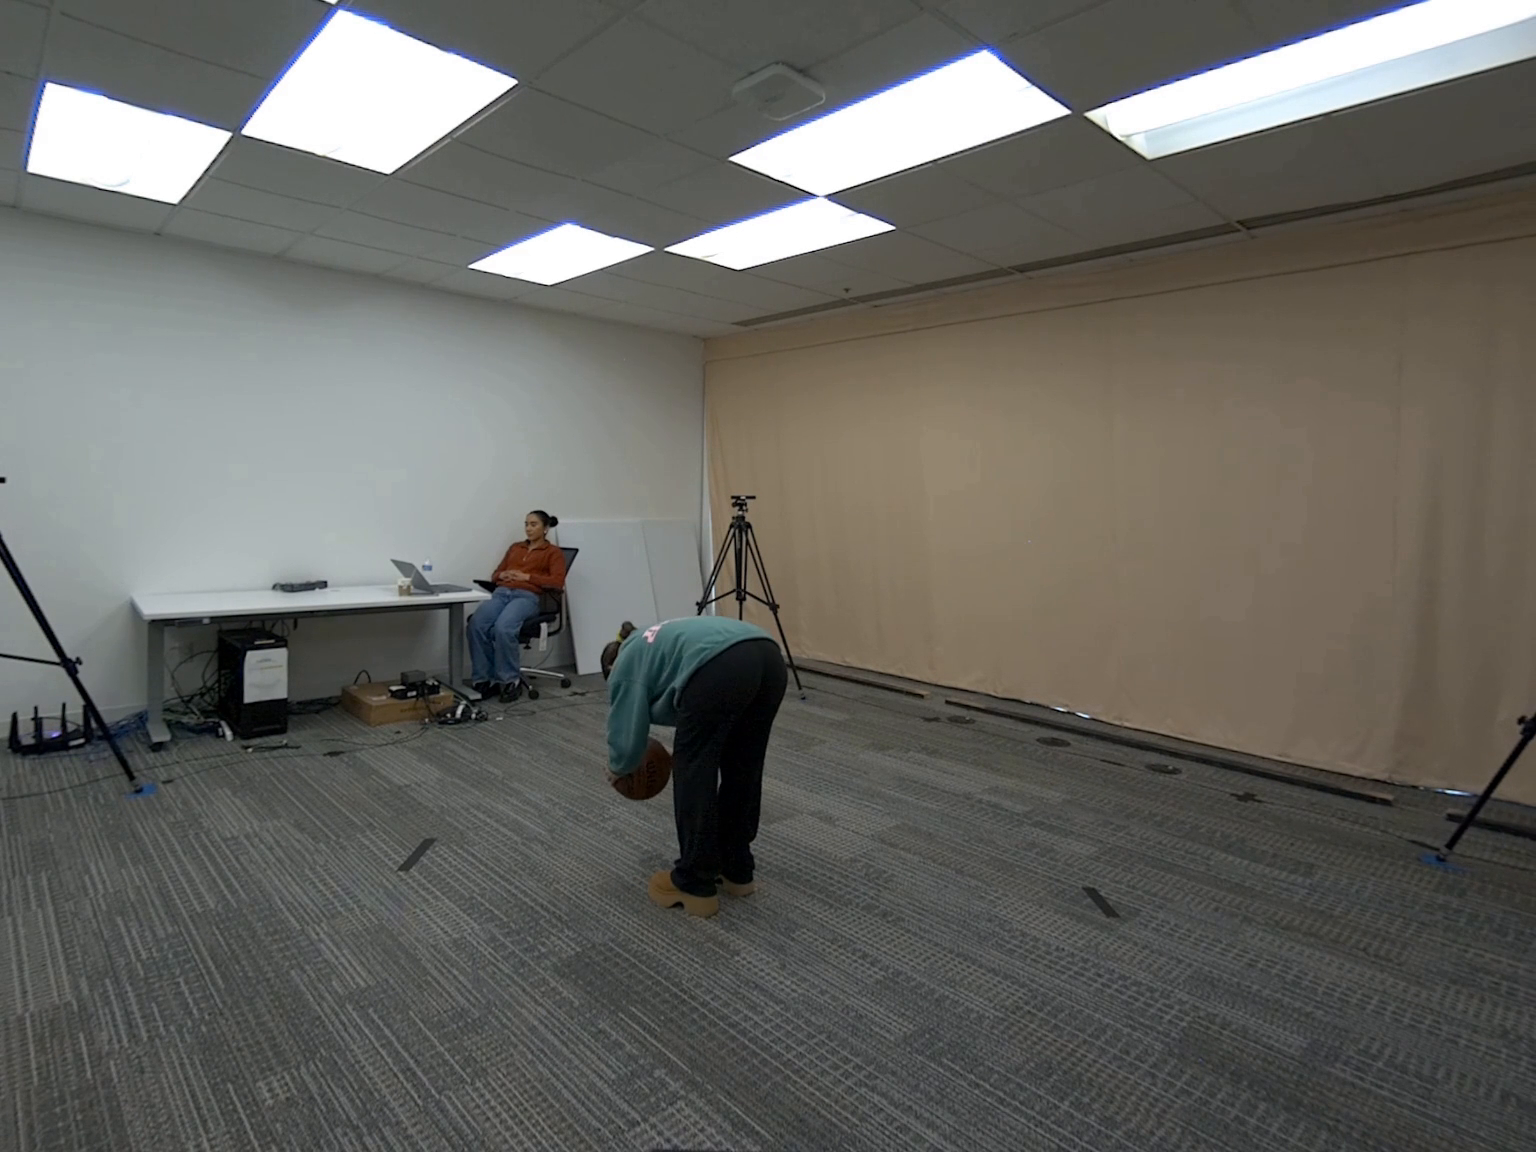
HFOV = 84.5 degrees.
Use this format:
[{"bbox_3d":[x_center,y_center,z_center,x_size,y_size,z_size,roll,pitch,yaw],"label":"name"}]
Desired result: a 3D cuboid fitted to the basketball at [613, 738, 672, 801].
[{"bbox_3d":[-0.493,0.721,3.174,0.236,0.235,0.237,1,4,-1],"label":"basketball"}]
